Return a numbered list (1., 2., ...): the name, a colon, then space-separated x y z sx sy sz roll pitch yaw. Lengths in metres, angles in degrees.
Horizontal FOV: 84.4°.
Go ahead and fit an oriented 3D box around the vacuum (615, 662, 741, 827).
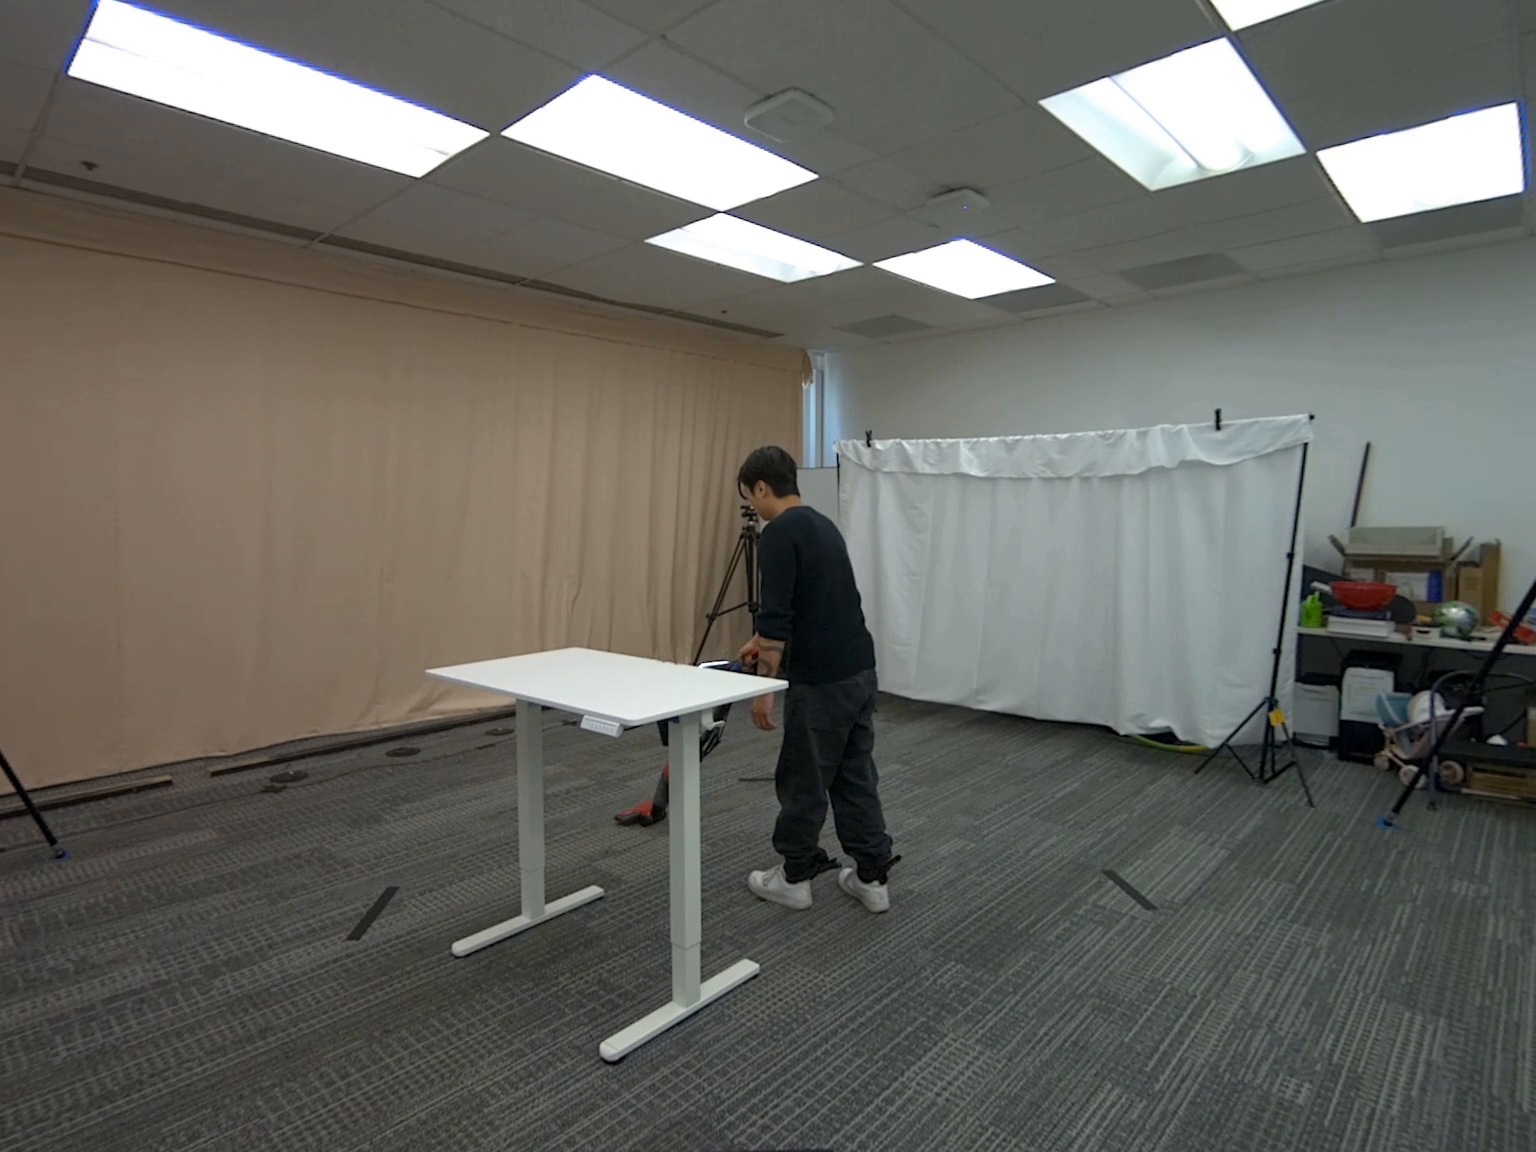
1. vacuum: -0.282 0.676 3.533 0.148 1.051 0.245 46 26 22
